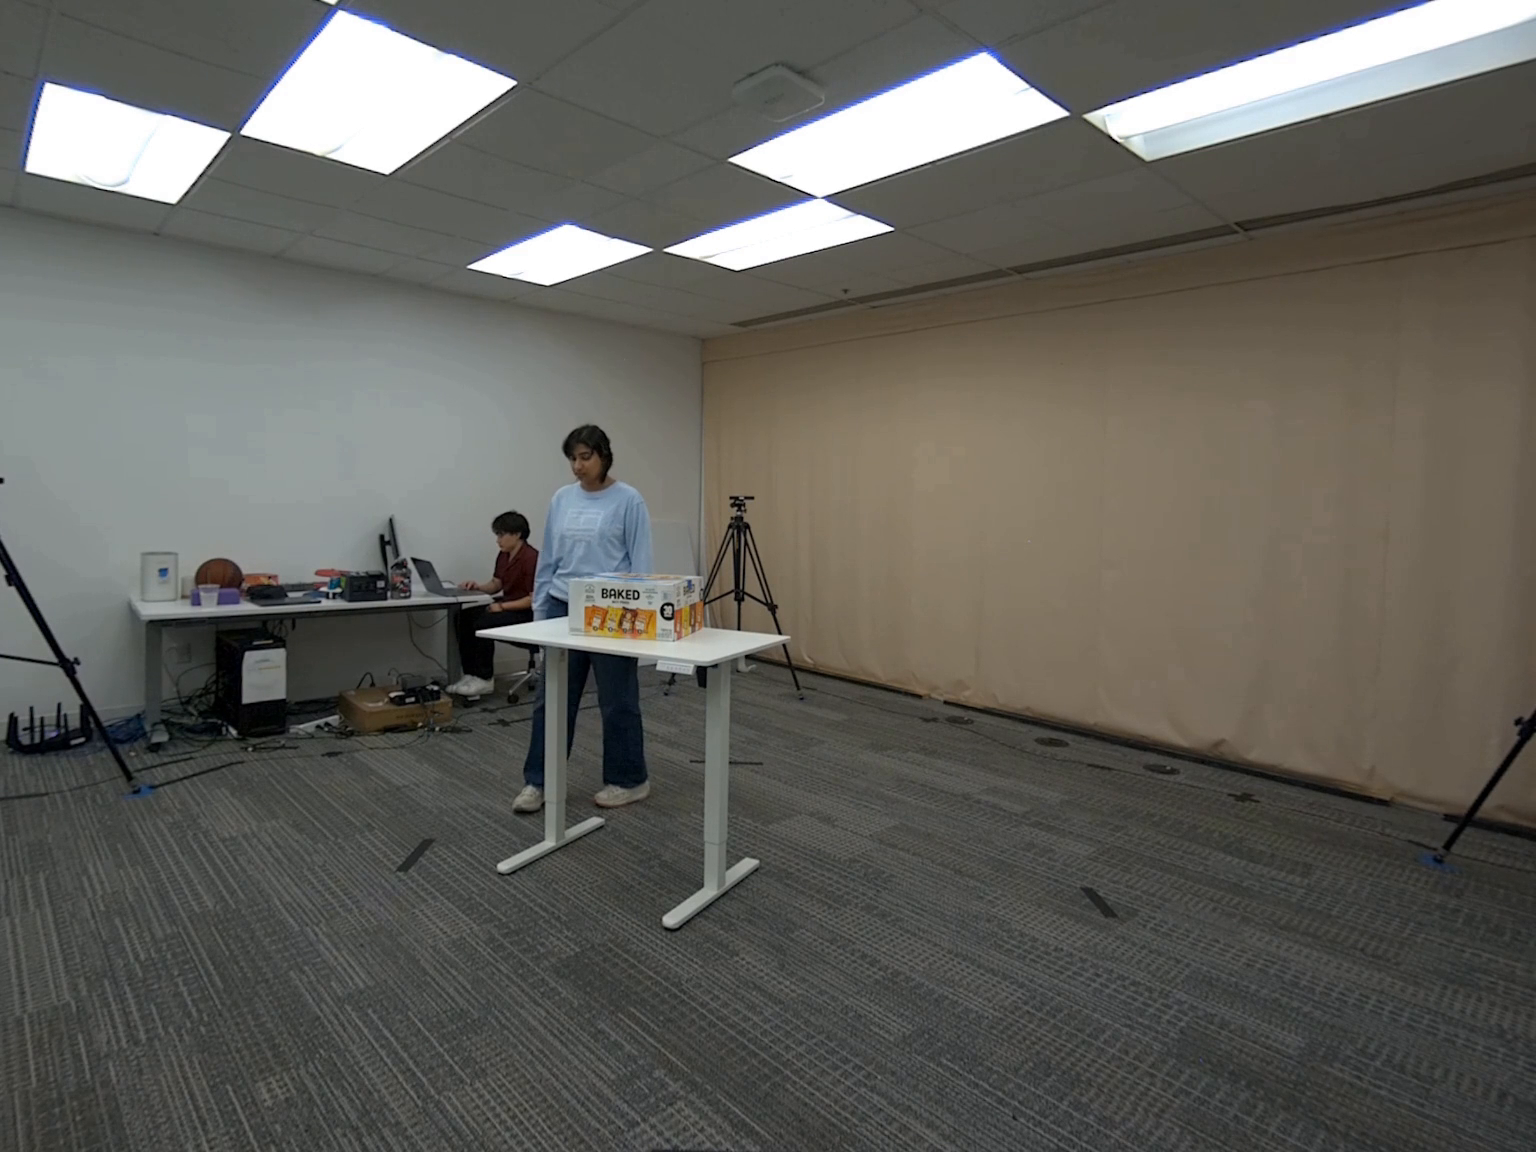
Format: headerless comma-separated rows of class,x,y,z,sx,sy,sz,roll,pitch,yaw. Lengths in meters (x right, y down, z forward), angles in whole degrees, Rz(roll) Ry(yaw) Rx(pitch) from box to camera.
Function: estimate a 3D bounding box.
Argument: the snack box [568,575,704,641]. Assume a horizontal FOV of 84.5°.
snack box,-0.493,0.108,3.152,0.410,0.205,0.337,2,4,14
